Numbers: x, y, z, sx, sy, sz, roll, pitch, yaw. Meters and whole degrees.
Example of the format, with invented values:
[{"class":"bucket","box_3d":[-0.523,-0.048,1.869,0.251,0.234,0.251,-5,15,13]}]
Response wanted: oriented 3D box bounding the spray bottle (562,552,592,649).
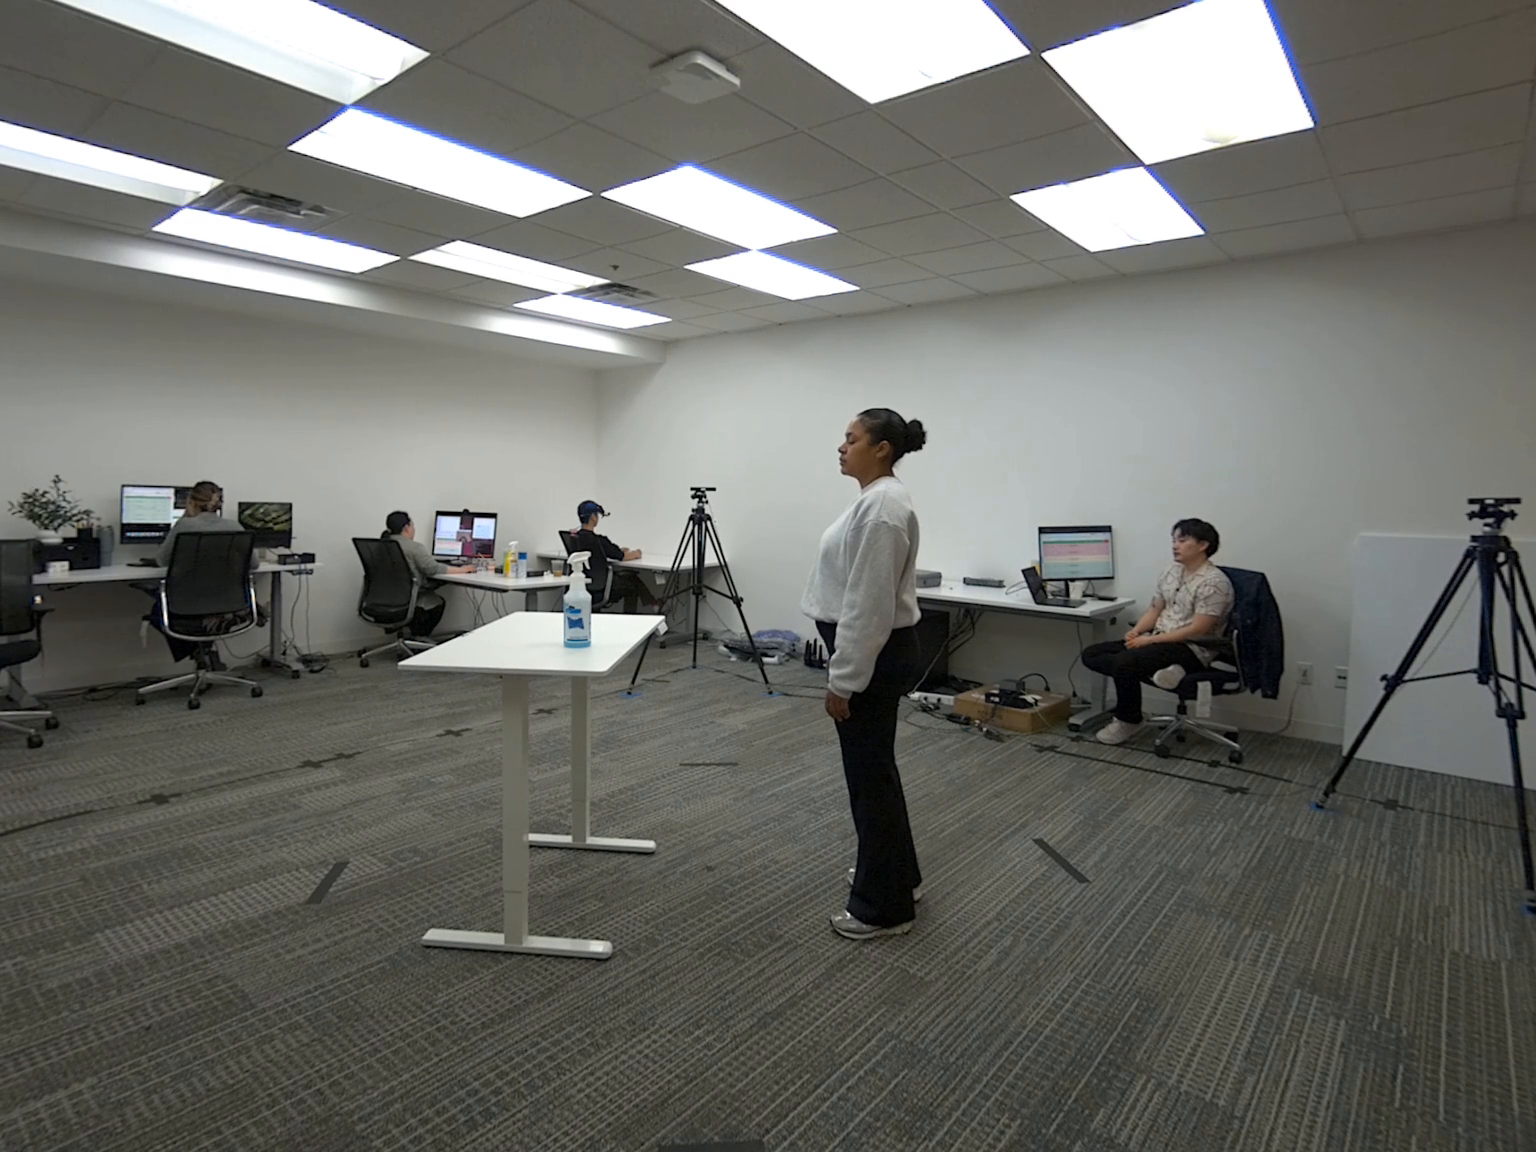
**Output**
[{"class":"spray bottle","box_3d":[-0.615,0.074,2.694,0.088,0.297,0.089,0,3,-27]}]
